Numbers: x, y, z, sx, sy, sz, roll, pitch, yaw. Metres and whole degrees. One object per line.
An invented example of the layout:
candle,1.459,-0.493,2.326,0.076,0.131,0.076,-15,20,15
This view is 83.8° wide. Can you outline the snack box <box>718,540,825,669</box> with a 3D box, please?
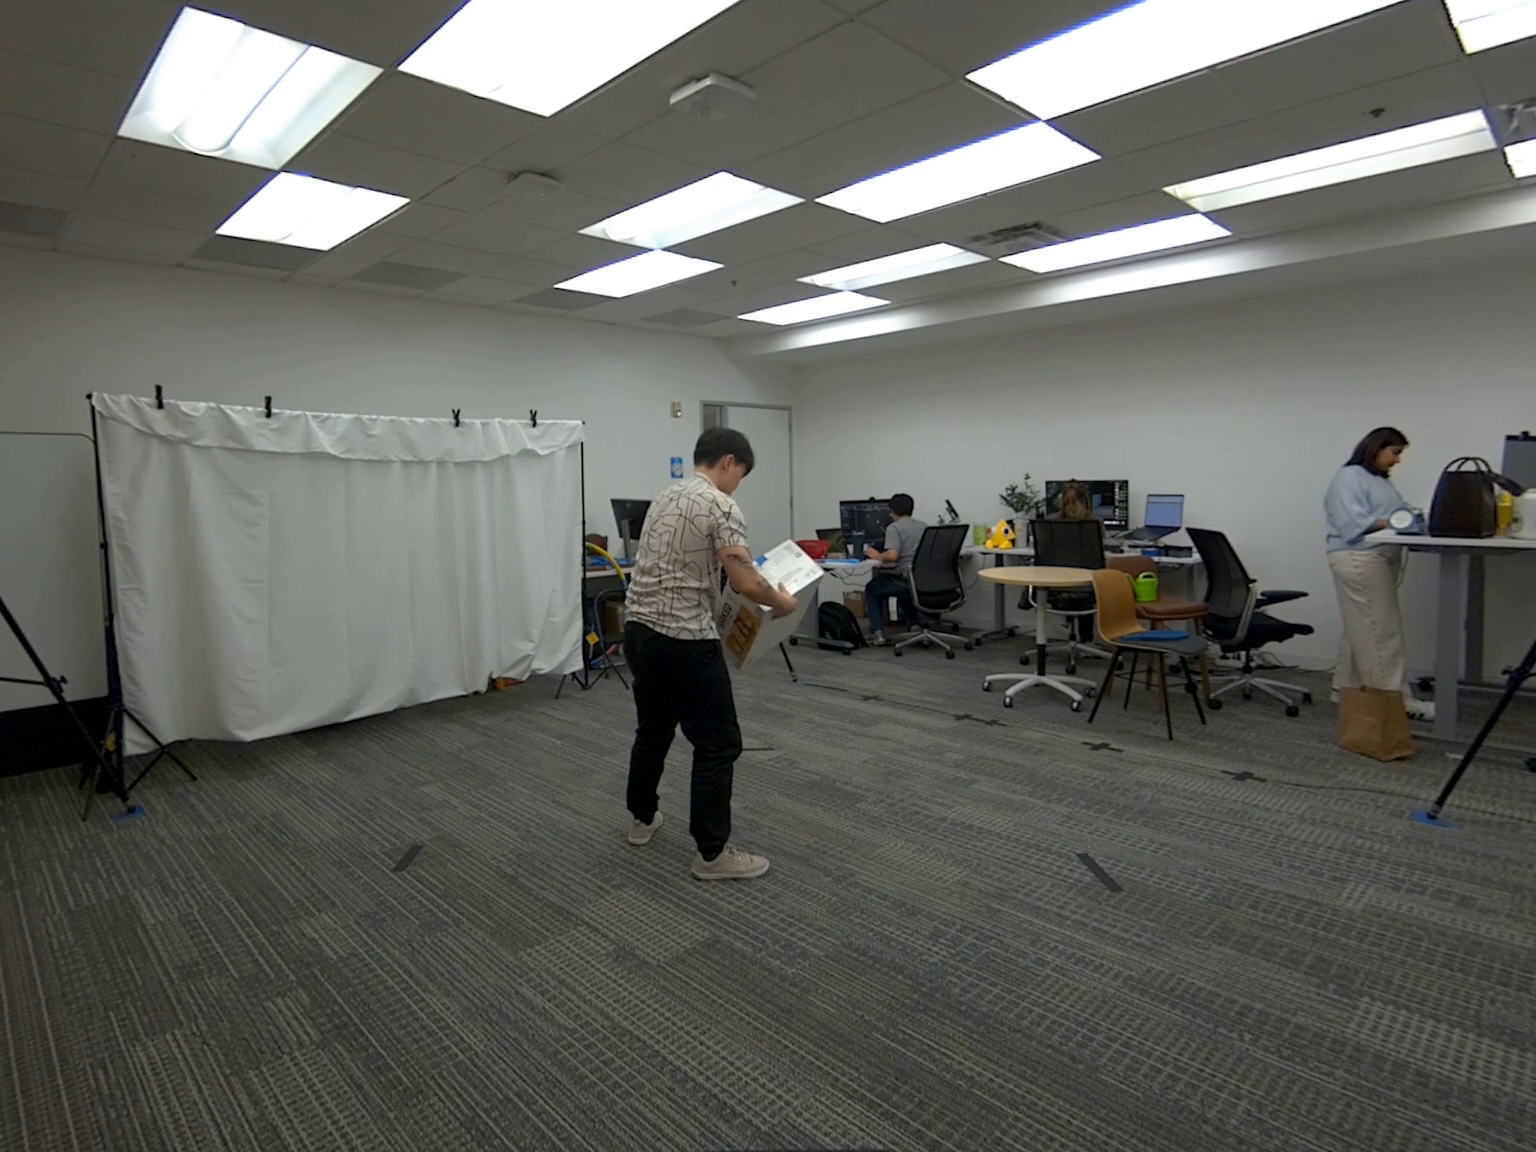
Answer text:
snack box,-0.009,0.119,3.374,0.337,0.399,0.211,-32,67,-36
